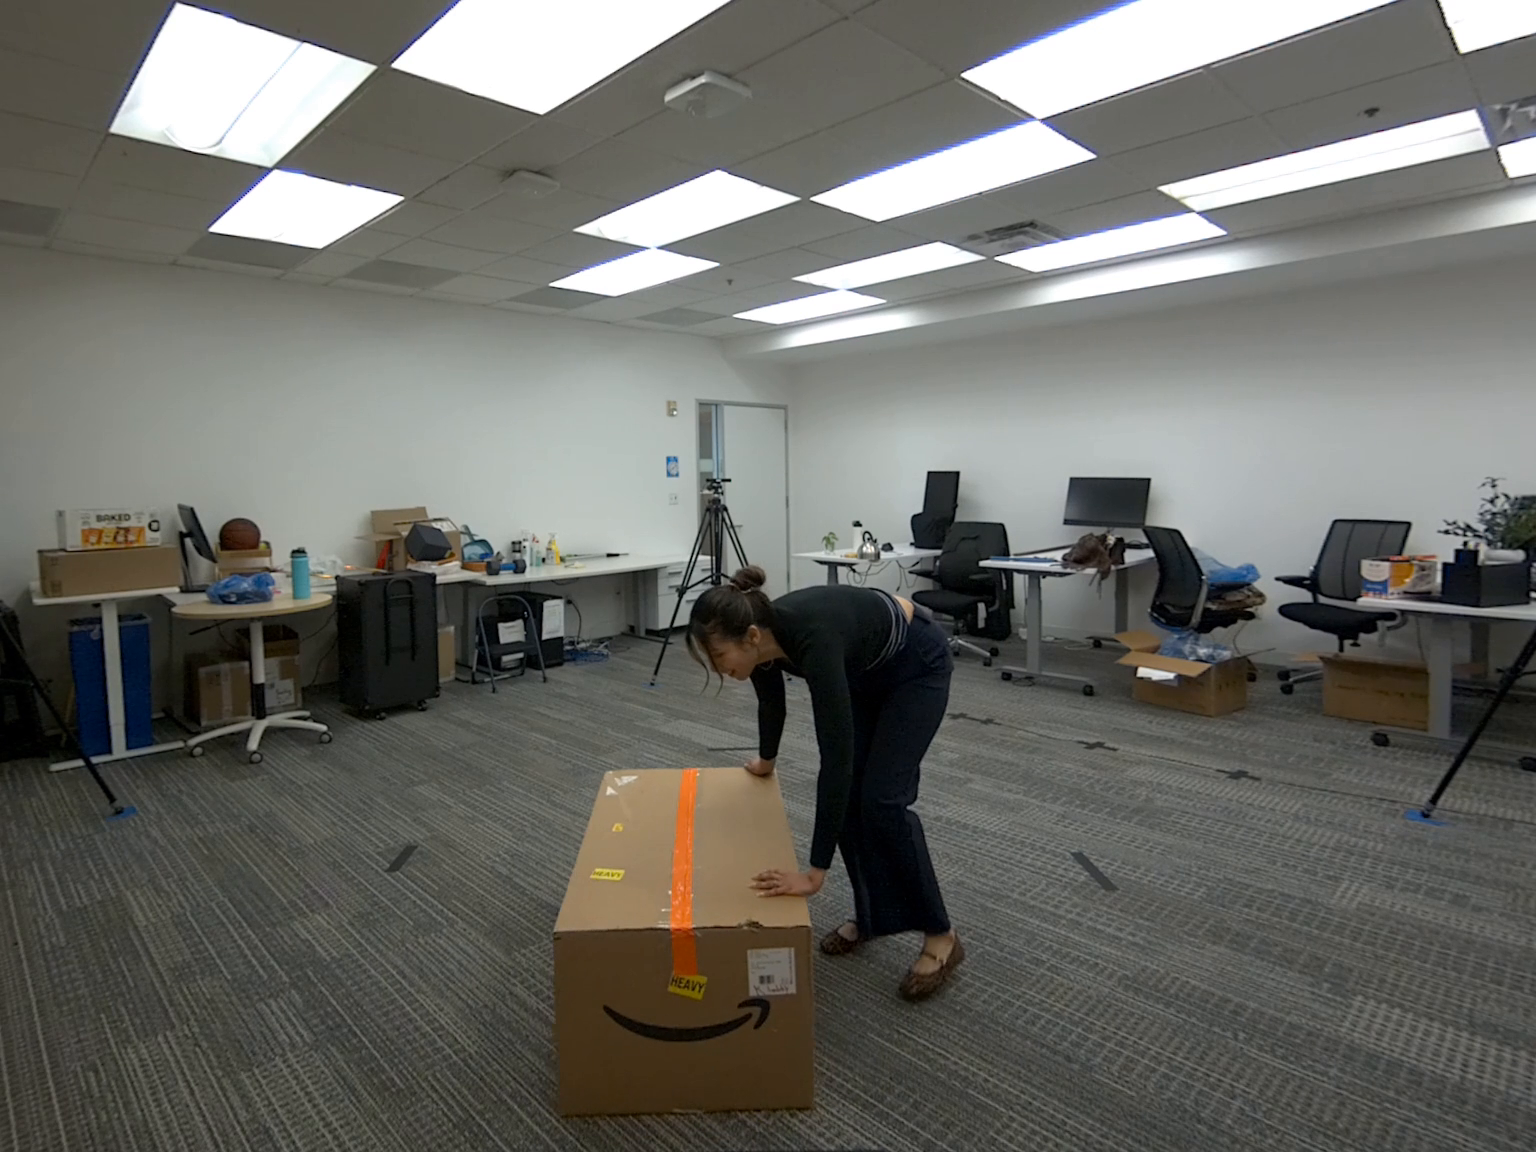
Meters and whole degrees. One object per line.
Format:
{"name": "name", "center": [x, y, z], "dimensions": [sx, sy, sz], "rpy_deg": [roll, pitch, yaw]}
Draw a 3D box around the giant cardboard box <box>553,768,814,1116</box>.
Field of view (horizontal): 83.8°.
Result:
{"name": "giant cardboard box", "center": [-0.218, 0.918, 2.382], "dimensions": [0.576, 0.424, 1.033], "rpy_deg": [0, 6, -4]}
